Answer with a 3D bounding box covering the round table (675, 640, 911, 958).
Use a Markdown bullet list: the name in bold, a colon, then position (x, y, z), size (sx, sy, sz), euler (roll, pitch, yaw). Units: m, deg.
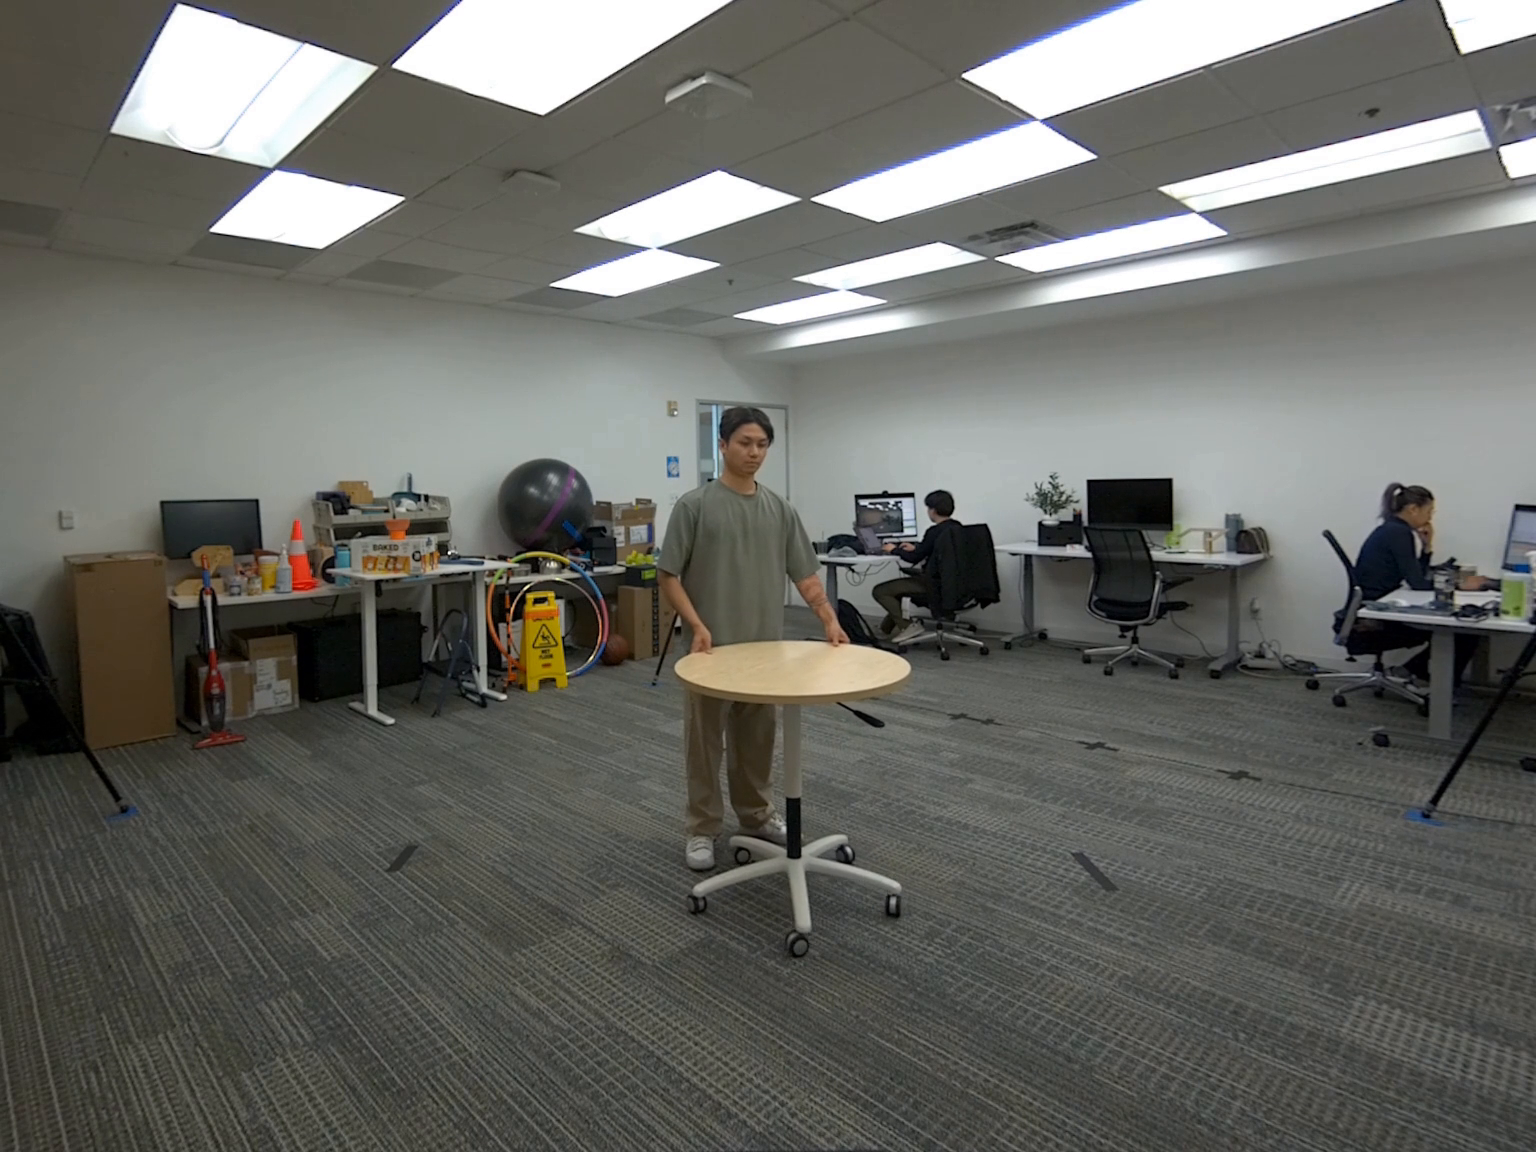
- **round table**: position (0.081, 0.680, 2.832), size (0.784, 0.783, 0.789), euler (-1, 5, -2)
